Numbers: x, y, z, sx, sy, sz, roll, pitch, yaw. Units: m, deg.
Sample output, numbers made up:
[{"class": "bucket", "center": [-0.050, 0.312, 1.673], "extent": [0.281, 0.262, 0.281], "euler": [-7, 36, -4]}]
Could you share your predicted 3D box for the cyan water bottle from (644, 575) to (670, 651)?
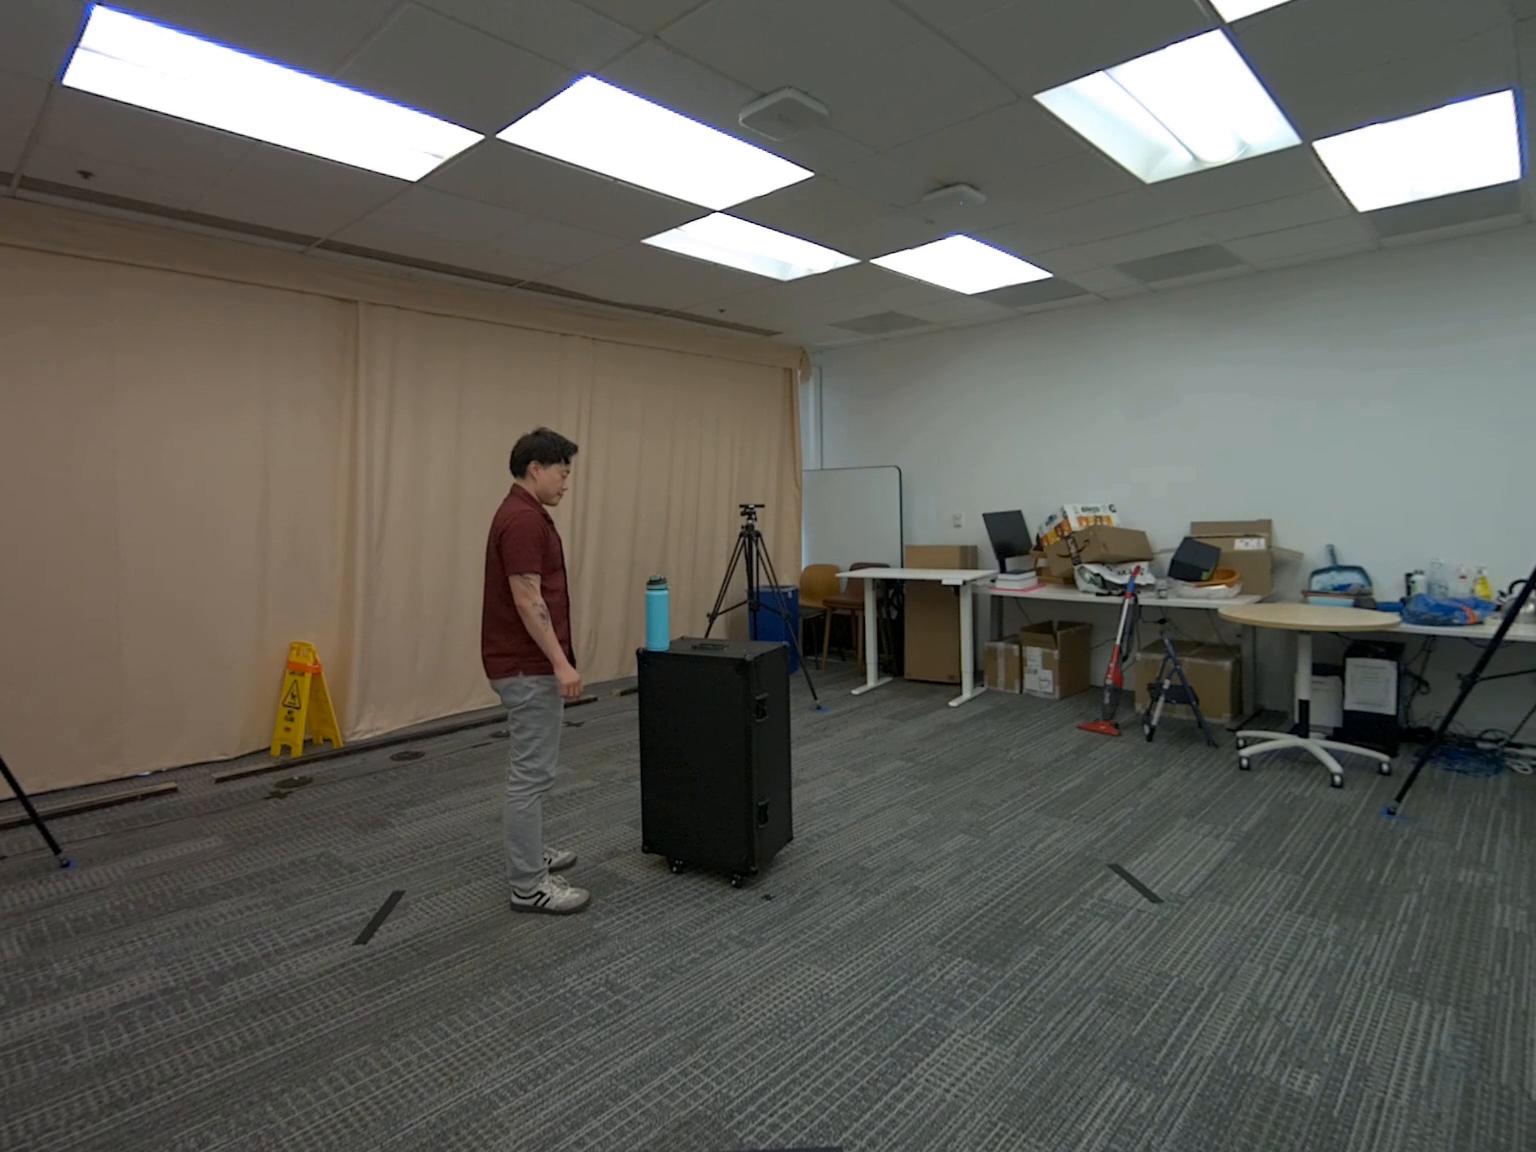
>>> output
[{"class": "cyan water bottle", "center": [-0.426, 0.137, 3.185], "extent": [0.092, 0.283, 0.093], "euler": [2, 4, -2]}]
